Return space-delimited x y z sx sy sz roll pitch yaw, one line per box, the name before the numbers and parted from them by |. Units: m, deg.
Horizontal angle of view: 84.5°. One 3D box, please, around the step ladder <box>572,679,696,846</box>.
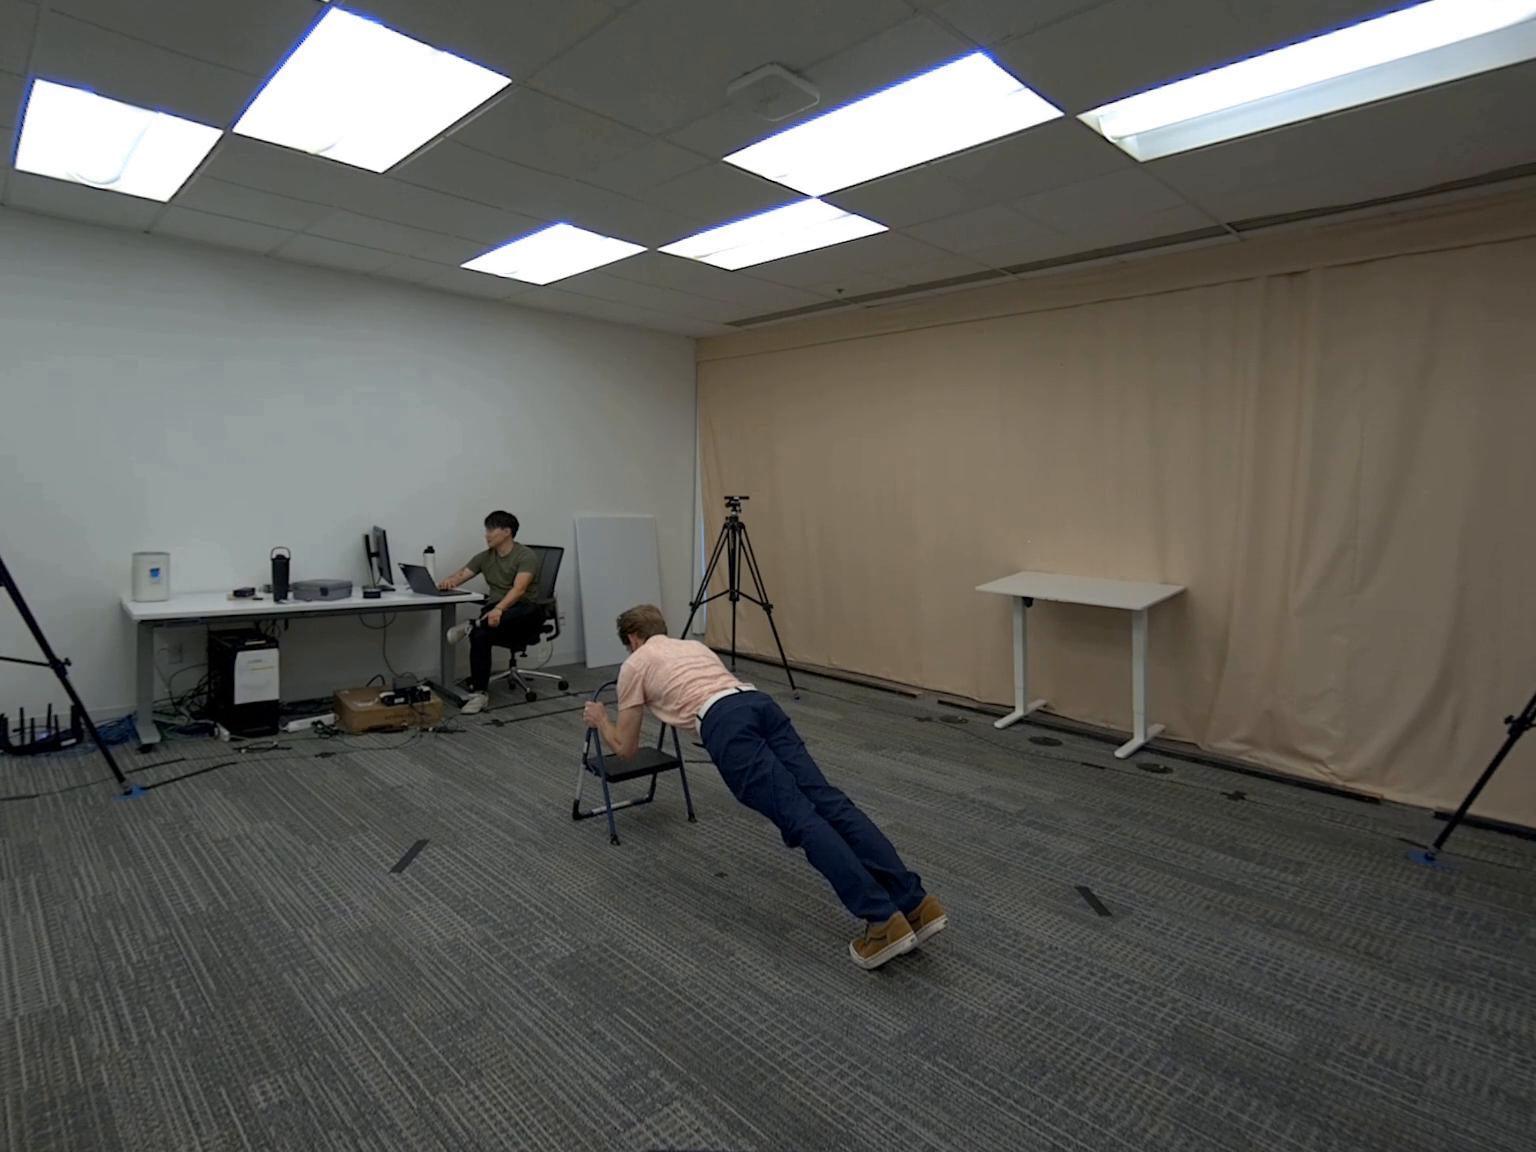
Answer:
step ladder | -0.576 0.751 3.596 0.421 0.605 0.358 -2 4 -43
